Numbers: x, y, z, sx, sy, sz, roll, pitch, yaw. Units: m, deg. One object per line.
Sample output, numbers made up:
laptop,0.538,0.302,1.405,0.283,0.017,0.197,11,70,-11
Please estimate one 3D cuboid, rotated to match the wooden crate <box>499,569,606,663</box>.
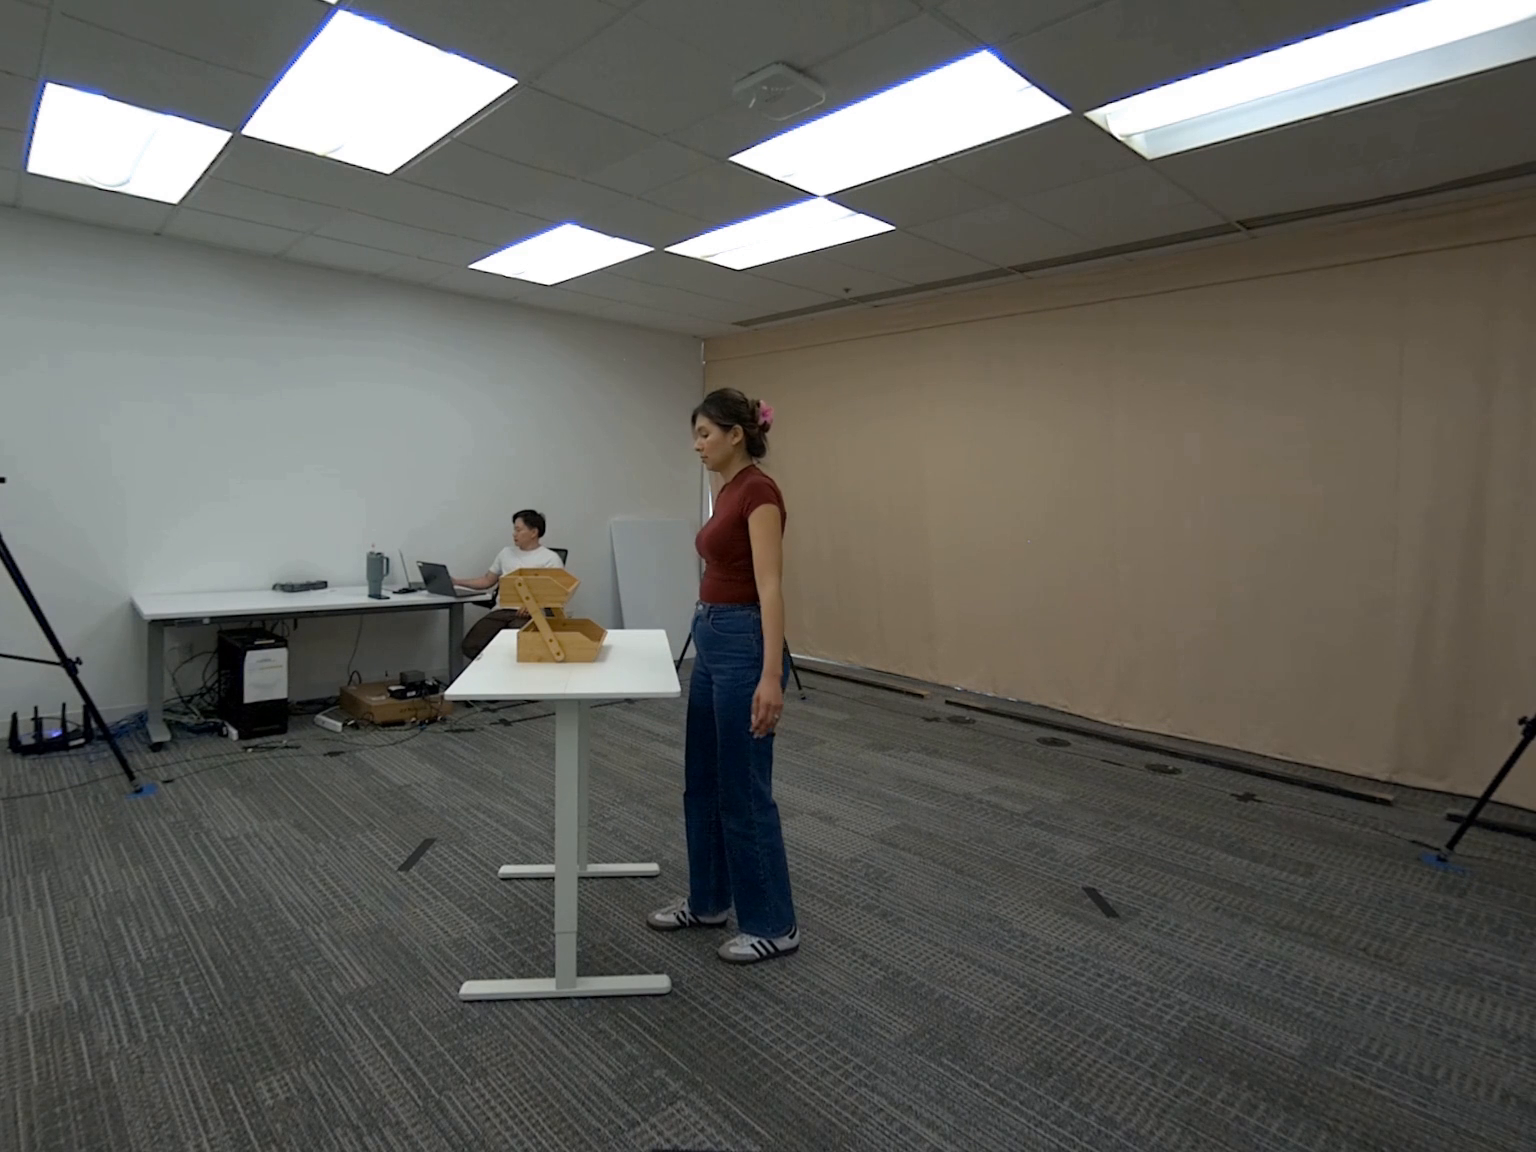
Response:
wooden crate,-0.680,0.119,2.683,0.301,0.272,0.327,0,4,-5
